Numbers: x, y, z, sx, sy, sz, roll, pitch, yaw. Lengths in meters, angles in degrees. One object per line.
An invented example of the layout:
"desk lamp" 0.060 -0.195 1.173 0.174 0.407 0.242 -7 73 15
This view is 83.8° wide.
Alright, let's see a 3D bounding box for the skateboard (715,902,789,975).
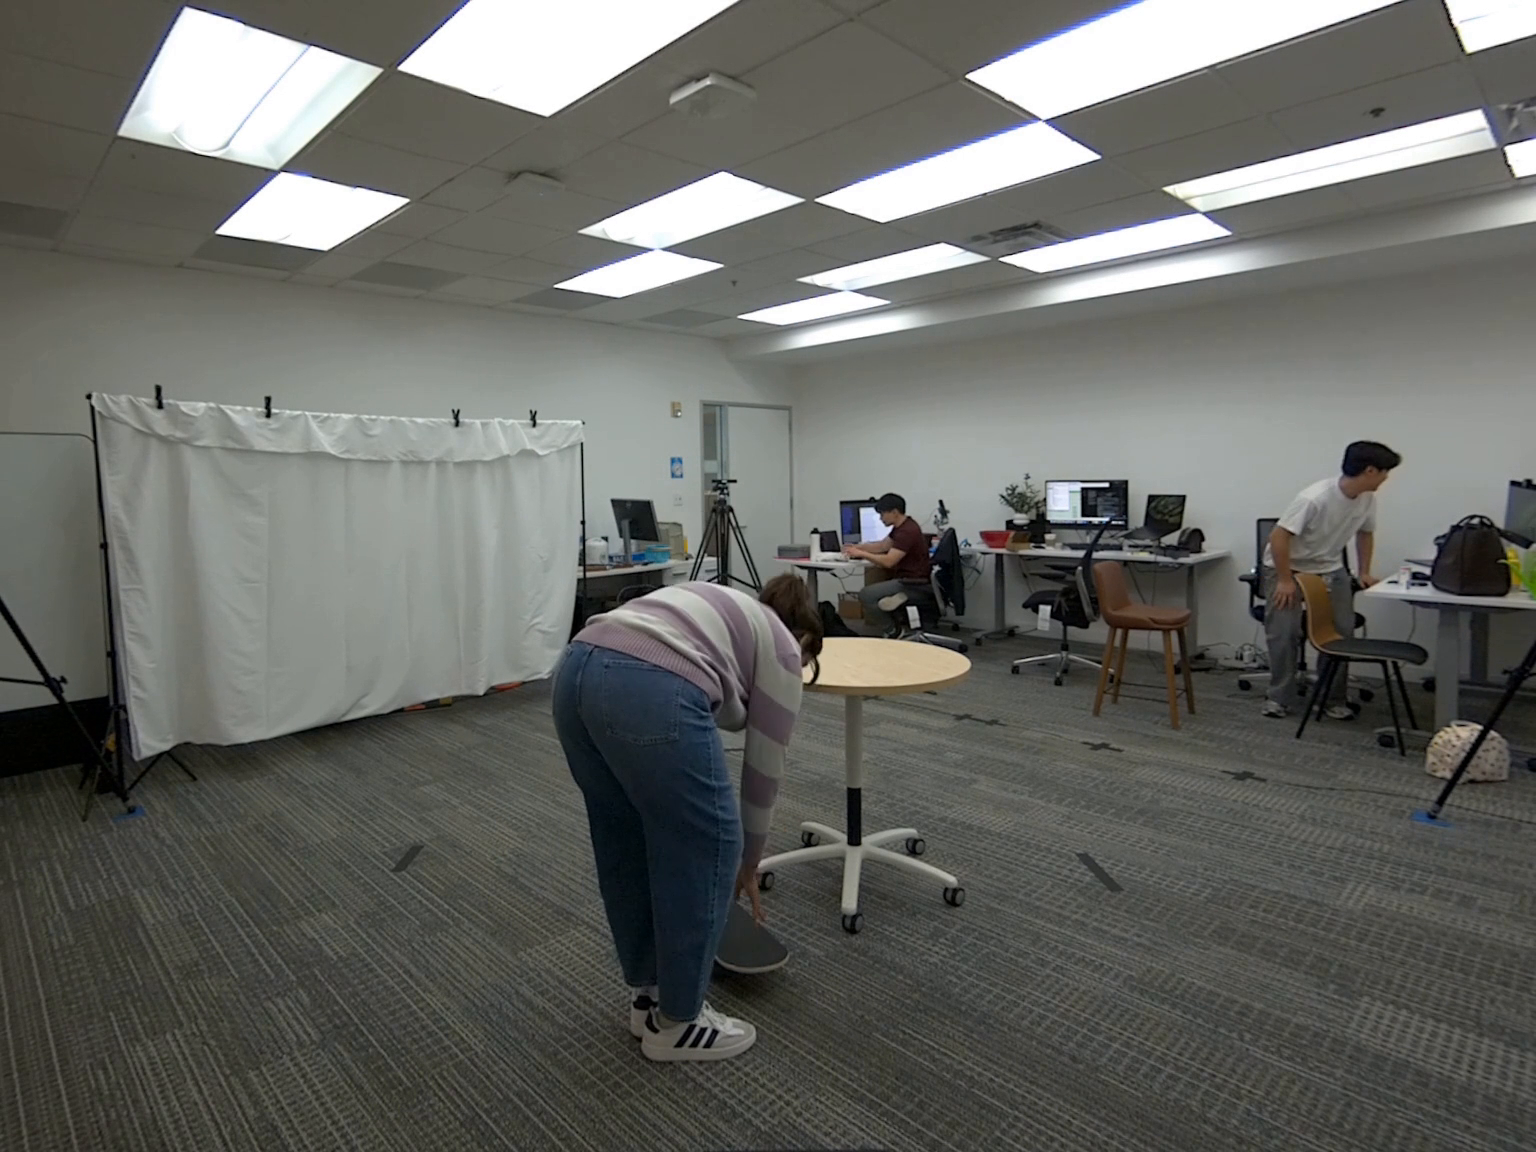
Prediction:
"skateboard" -0.182 1.049 2.620 0.189 0.110 0.807 -5 8 -29
